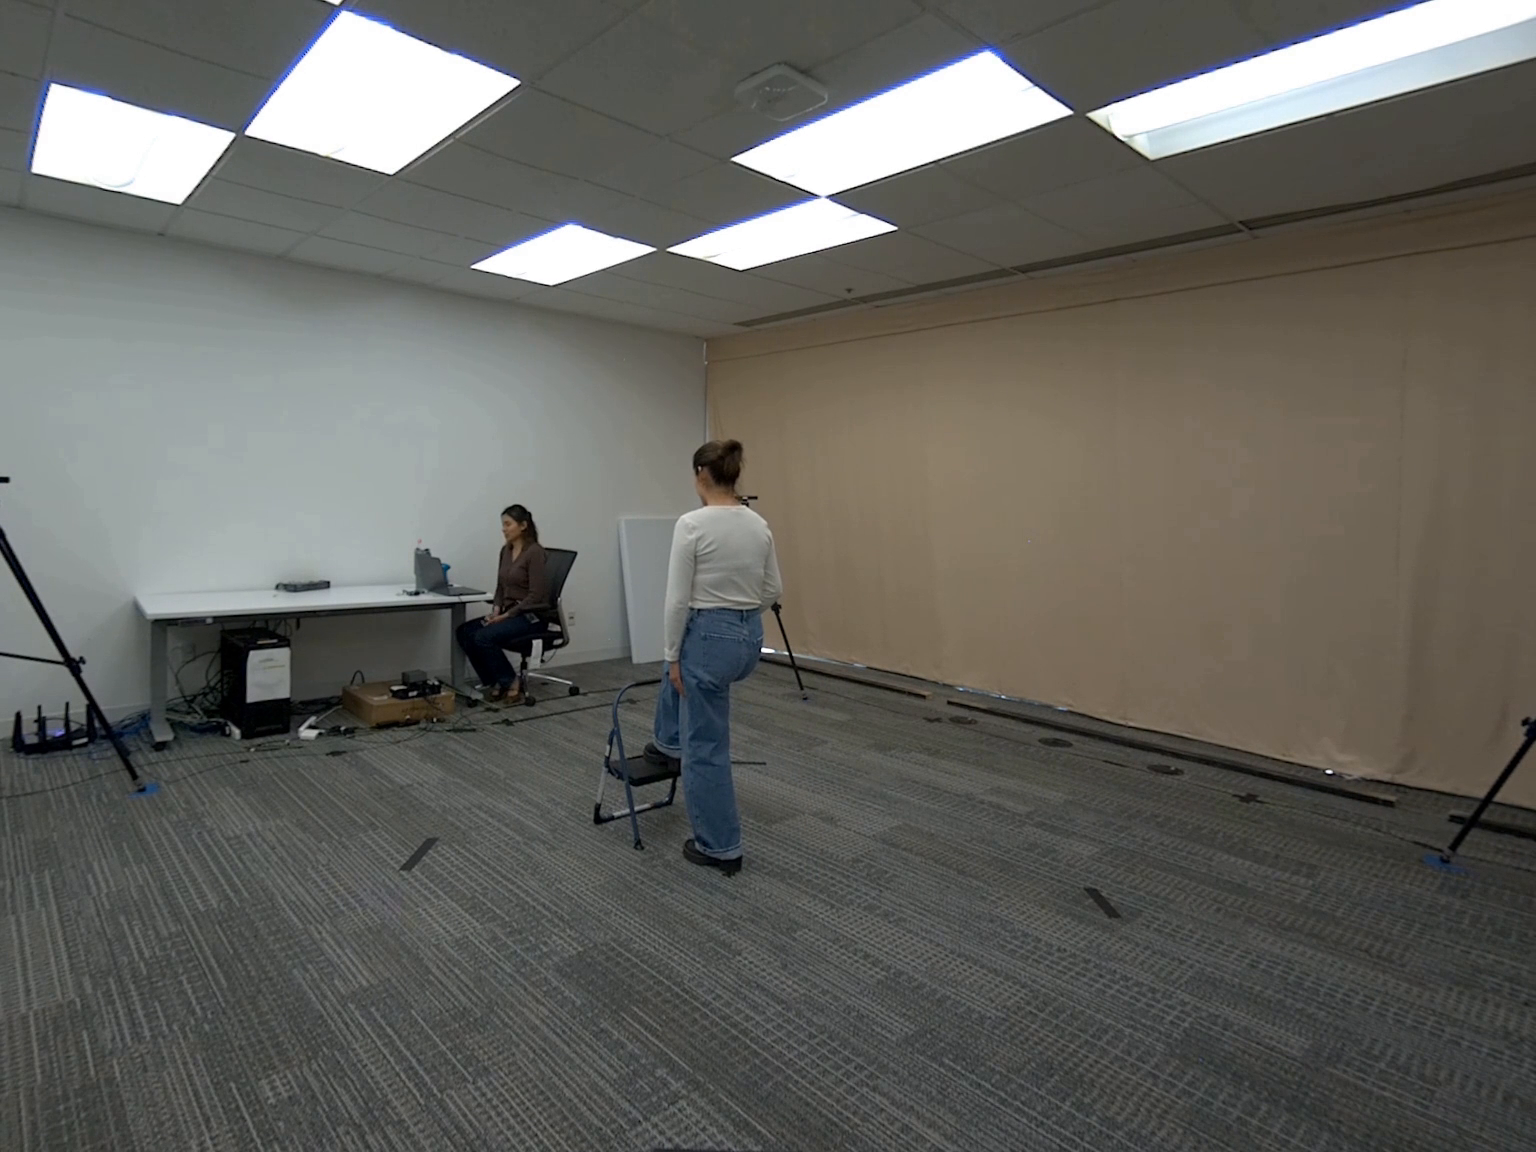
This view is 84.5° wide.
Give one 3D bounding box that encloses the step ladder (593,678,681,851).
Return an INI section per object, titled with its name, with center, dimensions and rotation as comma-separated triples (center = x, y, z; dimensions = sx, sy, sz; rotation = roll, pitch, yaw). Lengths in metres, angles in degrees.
[step ladder]
center = -0.475, 0.754, 3.556
dimensions = 0.420, 0.605, 0.358
rotation = -1, 4, -44
